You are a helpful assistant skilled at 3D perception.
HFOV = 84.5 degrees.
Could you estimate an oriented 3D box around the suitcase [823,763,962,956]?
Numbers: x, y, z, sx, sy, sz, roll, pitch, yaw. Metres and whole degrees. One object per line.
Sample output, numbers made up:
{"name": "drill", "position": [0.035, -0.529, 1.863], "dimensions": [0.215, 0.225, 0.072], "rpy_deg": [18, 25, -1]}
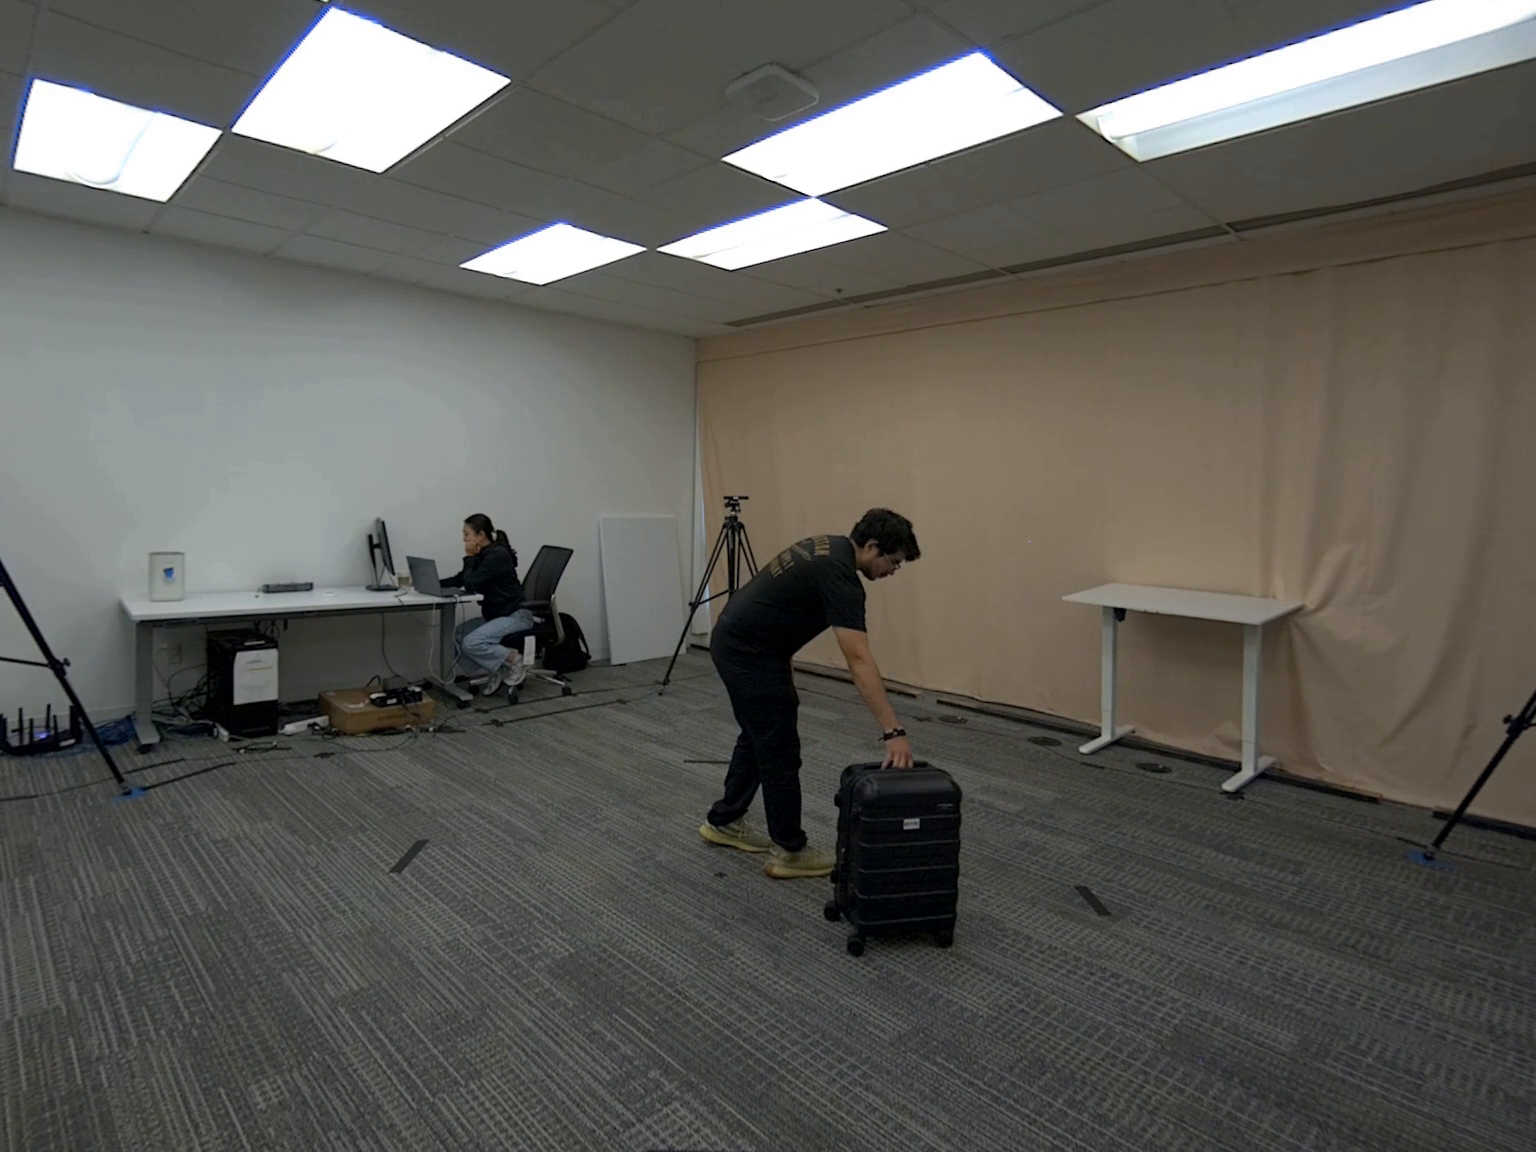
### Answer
{"name": "suitcase", "position": [0.408, 0.879, 2.706], "dimensions": [0.371, 0.548, 0.252], "rpy_deg": [2, 4, -15]}
